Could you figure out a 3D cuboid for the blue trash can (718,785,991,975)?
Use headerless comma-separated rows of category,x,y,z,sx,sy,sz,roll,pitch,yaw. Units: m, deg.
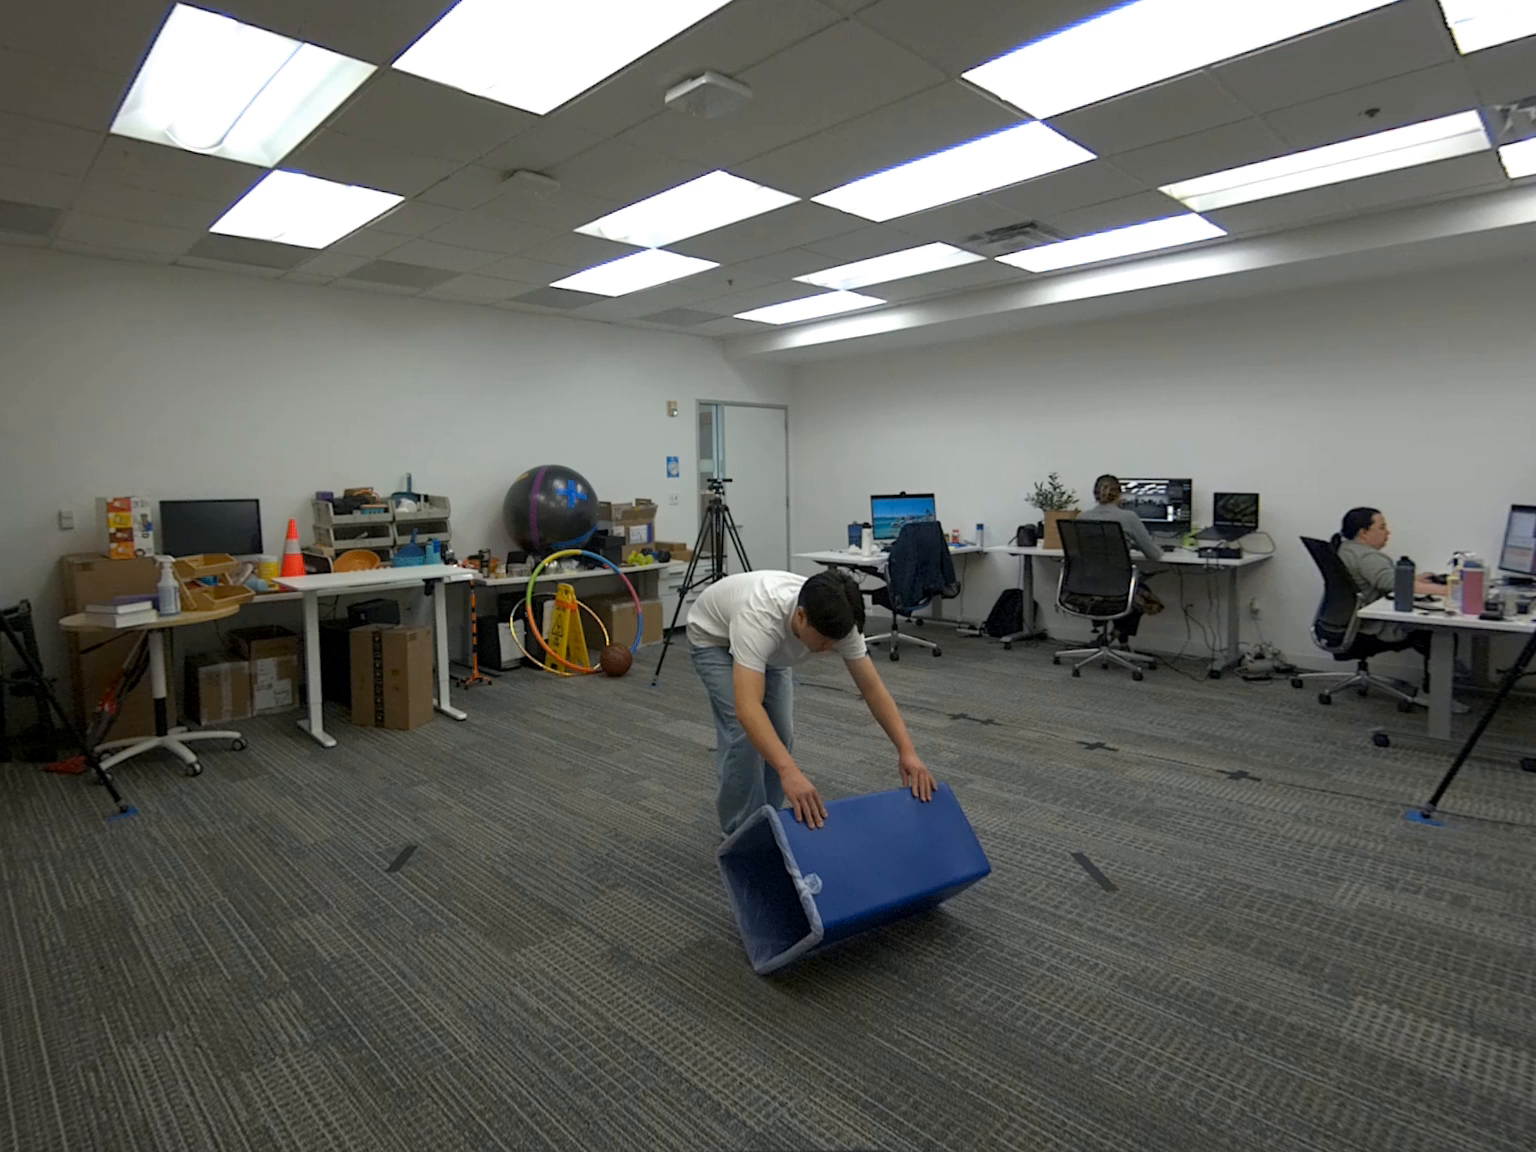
blue trash can,0.272,0.879,2.582,0.695,0.387,0.375,-1,-40,-34
